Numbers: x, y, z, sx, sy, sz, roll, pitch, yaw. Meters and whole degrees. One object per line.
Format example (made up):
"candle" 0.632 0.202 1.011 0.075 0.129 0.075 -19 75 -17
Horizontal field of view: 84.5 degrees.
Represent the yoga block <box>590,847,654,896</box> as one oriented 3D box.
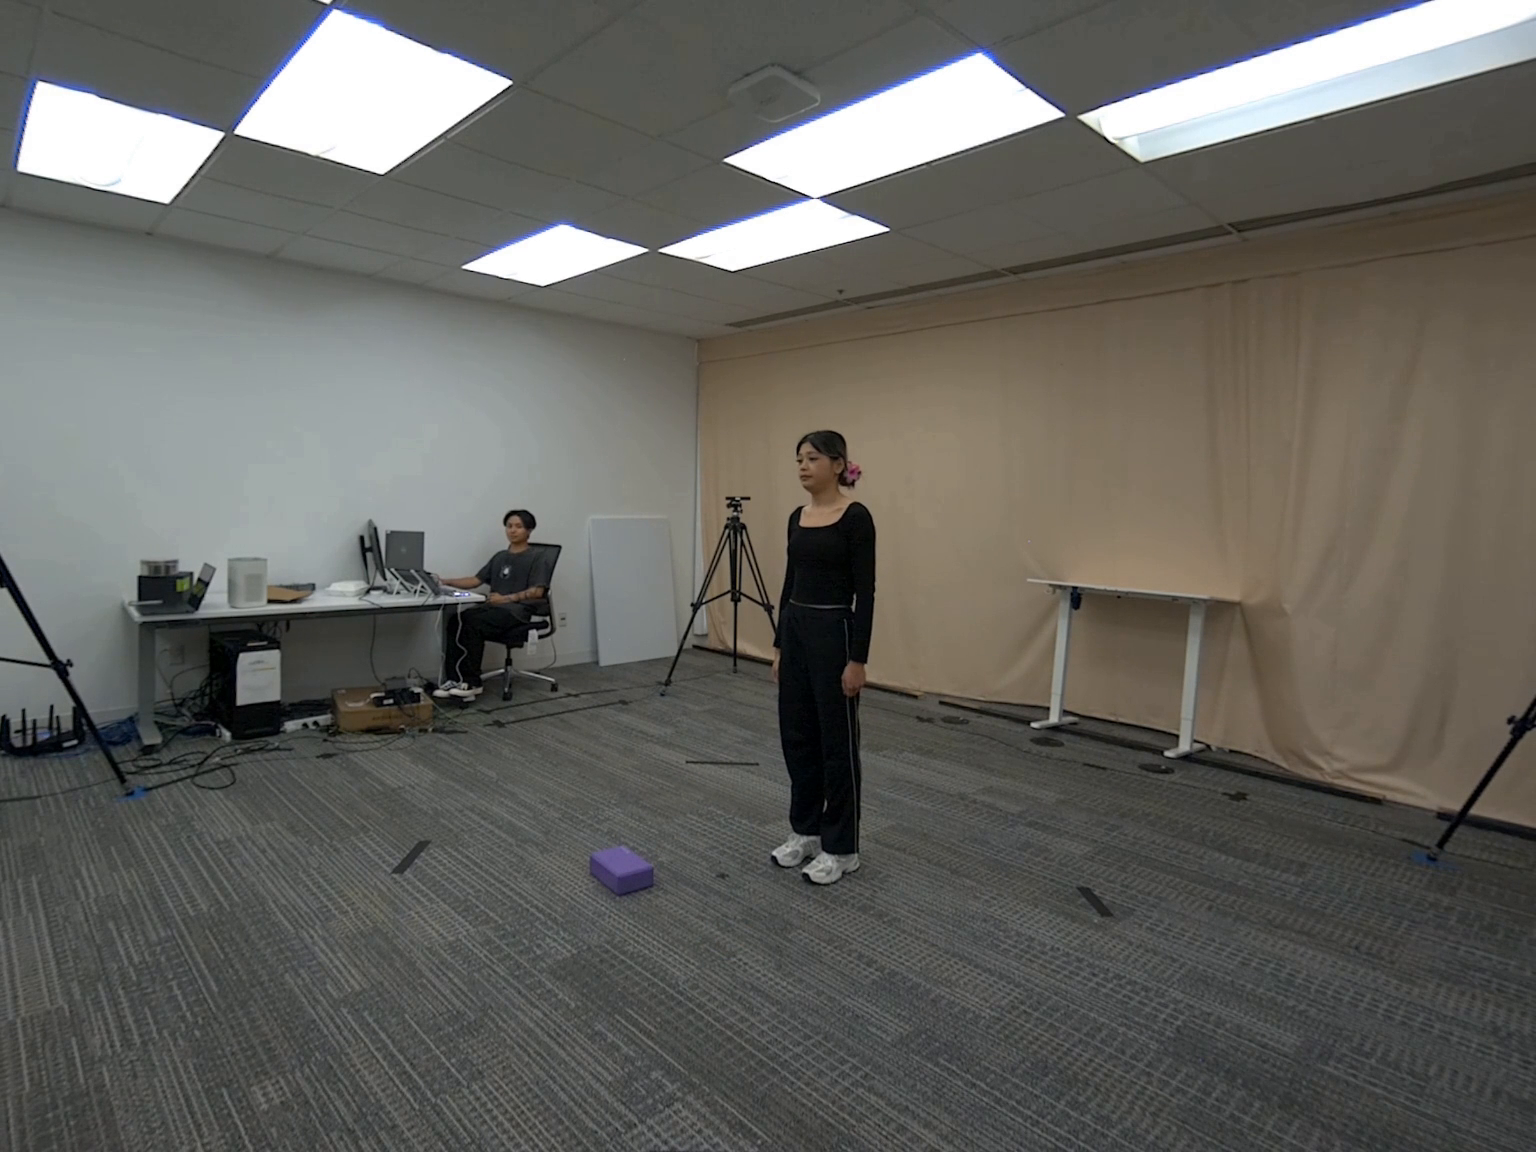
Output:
"yoga block" -0.540 1.065 3.048 0.146 0.076 0.235 -3 6 -37
